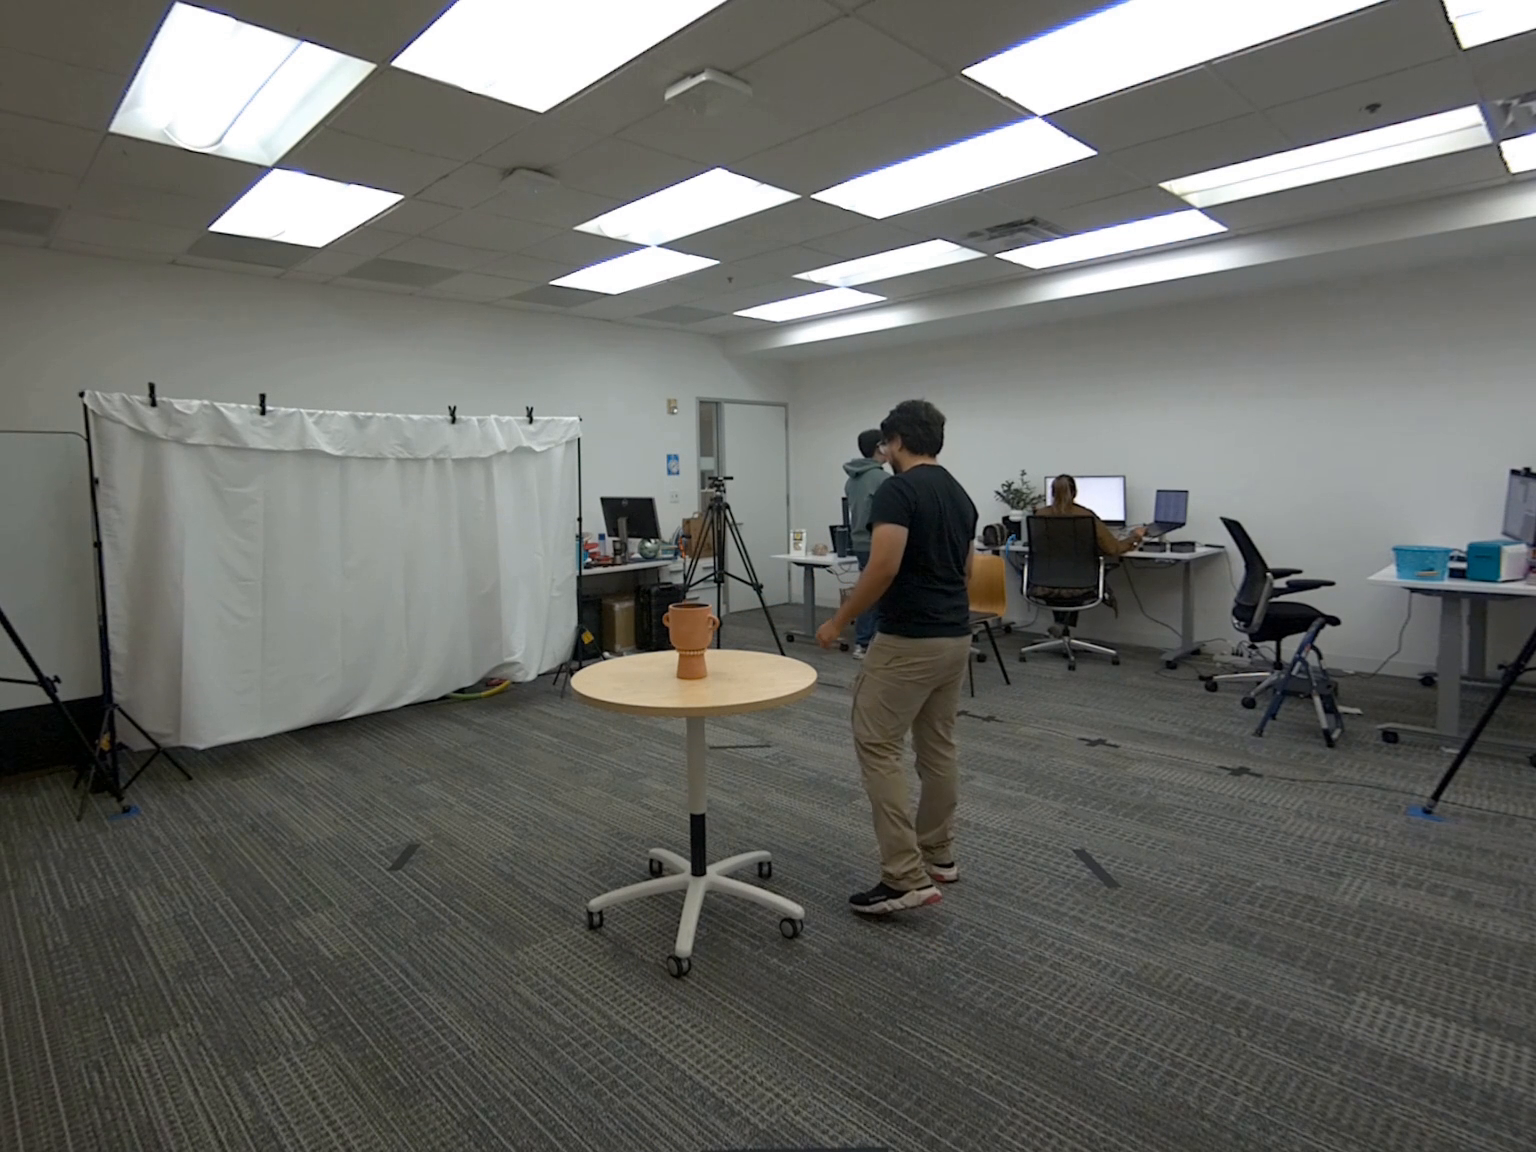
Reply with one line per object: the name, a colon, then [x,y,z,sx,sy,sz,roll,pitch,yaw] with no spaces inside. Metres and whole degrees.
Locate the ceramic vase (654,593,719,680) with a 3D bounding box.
ceramic vase: [-0.233,0.200,2.646,0.132,0.219,0.163,-3,4,-27]
